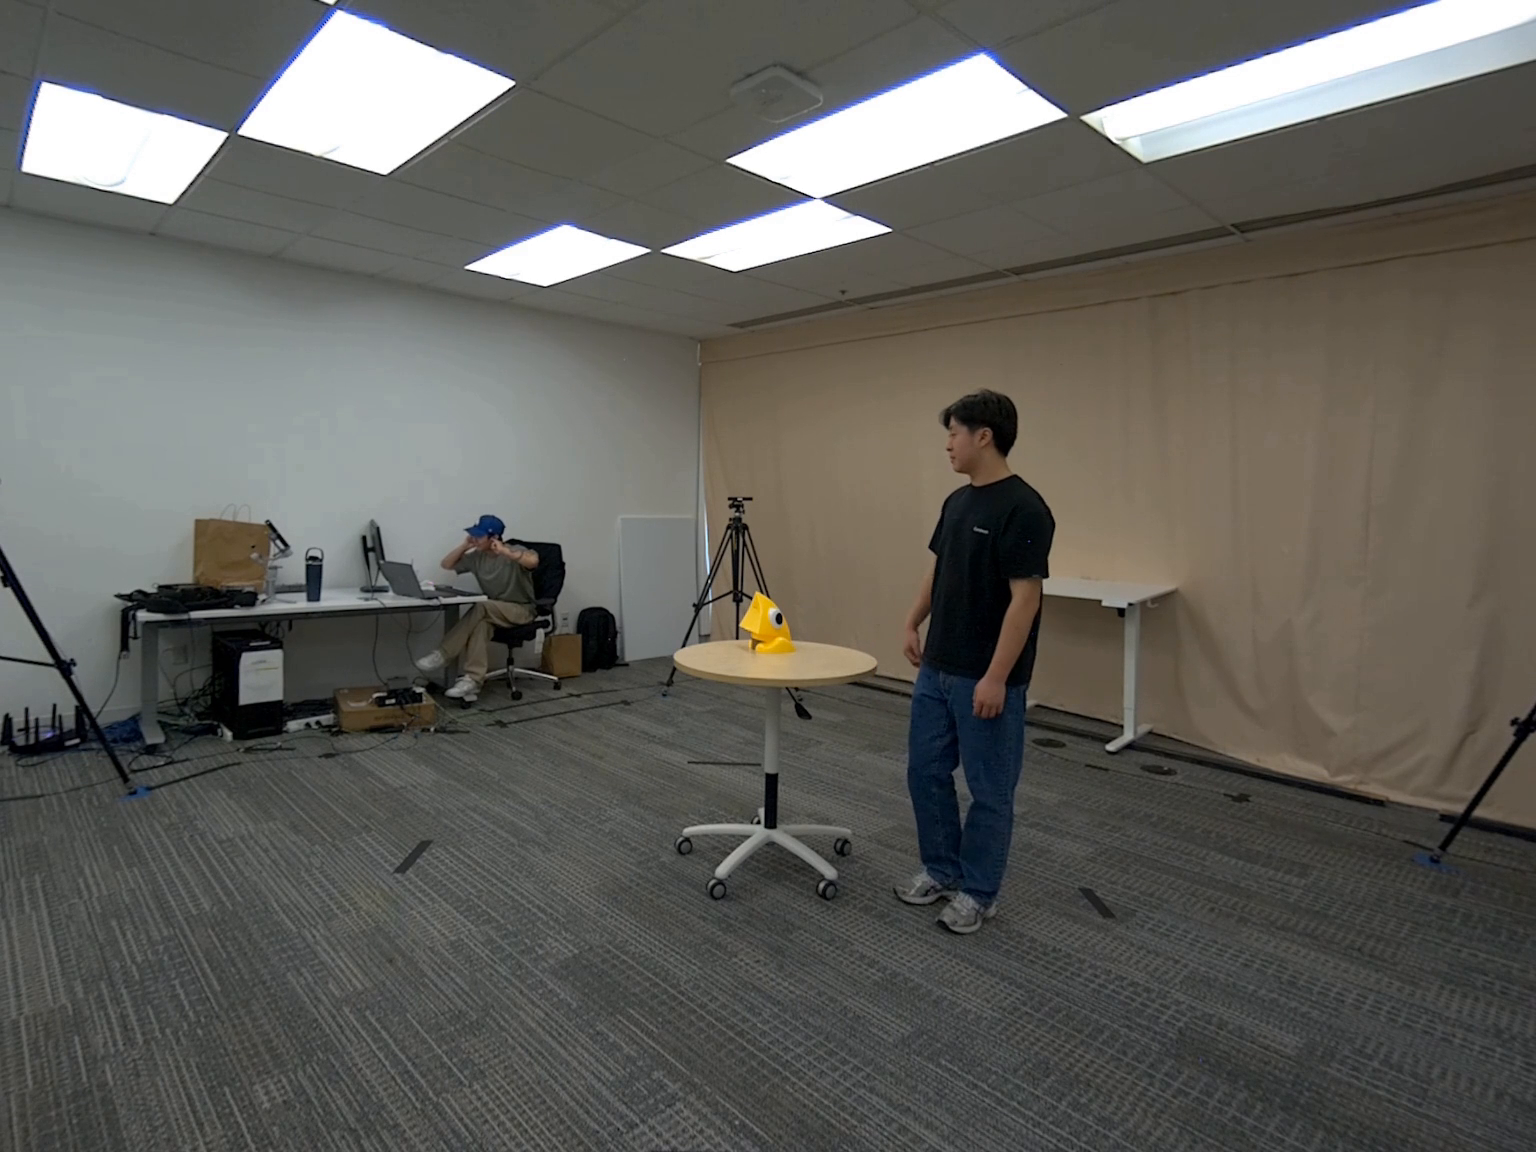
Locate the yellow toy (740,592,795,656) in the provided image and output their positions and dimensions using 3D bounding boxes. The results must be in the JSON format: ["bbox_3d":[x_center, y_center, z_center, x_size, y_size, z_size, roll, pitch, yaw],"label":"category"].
[{"bbox_3d":[-0.002,0.176,3.356,0.190,0.230,0.208,-1,4,-22],"label":"yellow toy"}]
